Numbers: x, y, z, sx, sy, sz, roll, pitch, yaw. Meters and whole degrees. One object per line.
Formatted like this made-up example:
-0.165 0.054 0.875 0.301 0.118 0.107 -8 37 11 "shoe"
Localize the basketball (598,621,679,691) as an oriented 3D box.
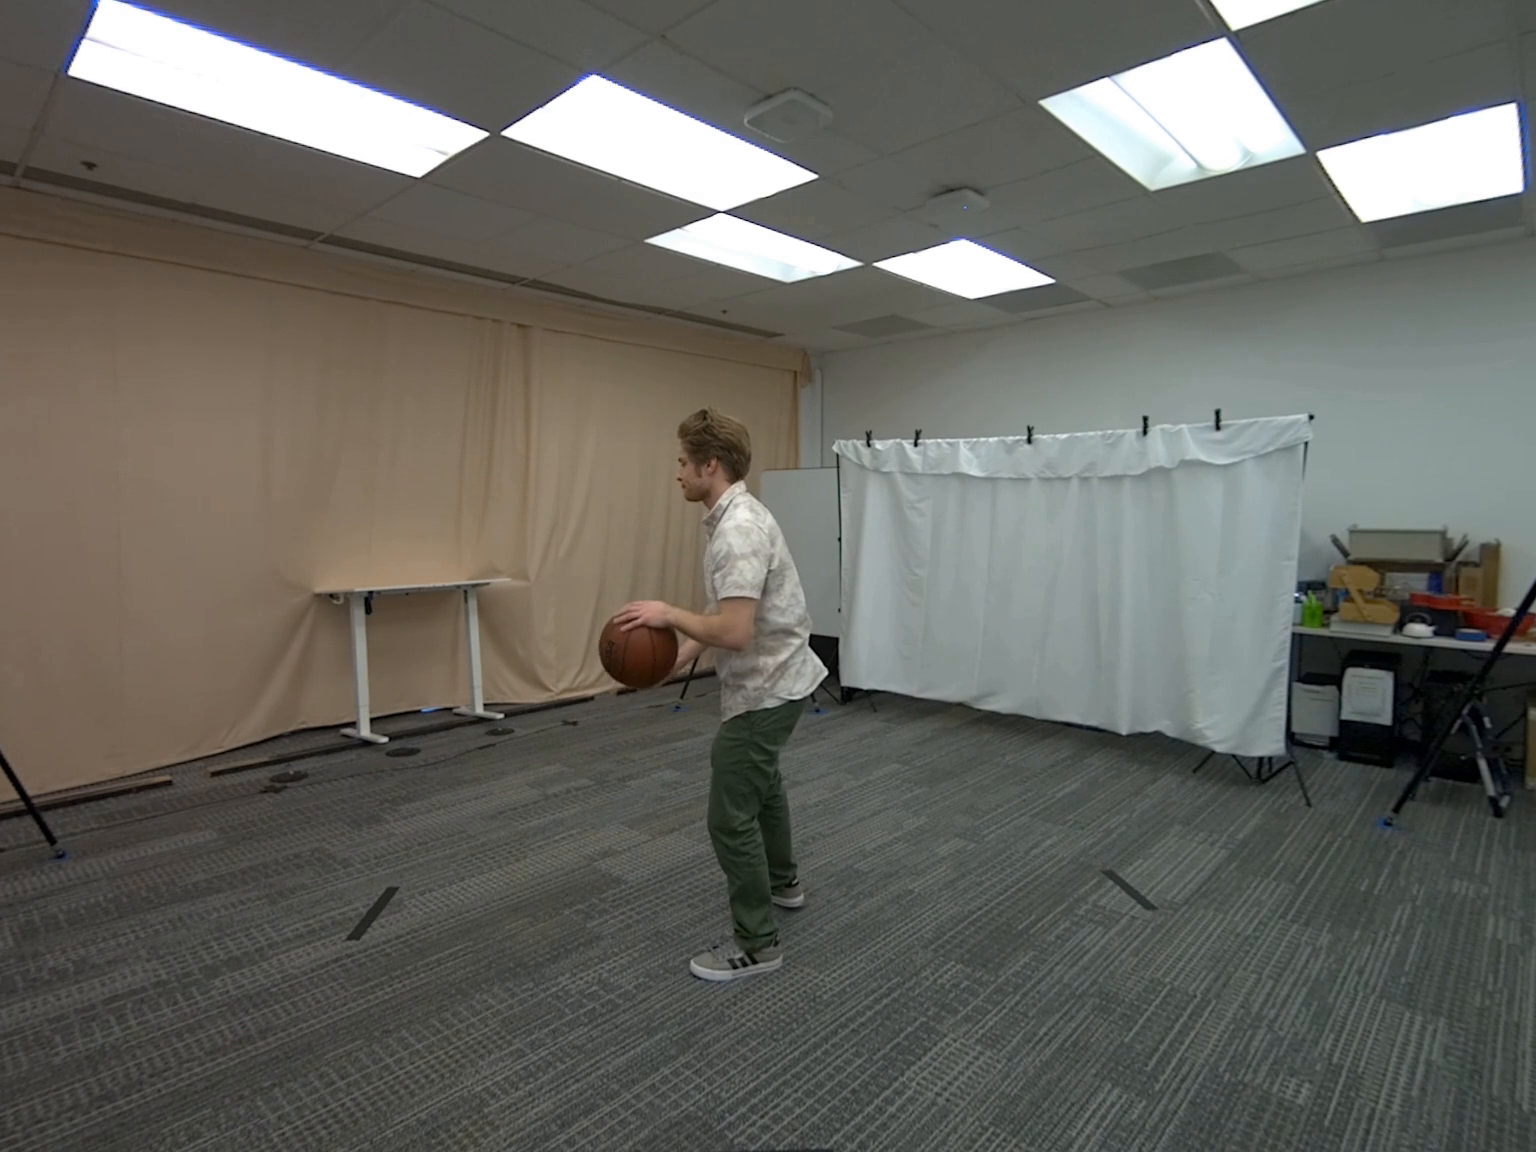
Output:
-0.384 0.213 2.525 0.236 0.235 0.237 0 4 -2 "basketball"
